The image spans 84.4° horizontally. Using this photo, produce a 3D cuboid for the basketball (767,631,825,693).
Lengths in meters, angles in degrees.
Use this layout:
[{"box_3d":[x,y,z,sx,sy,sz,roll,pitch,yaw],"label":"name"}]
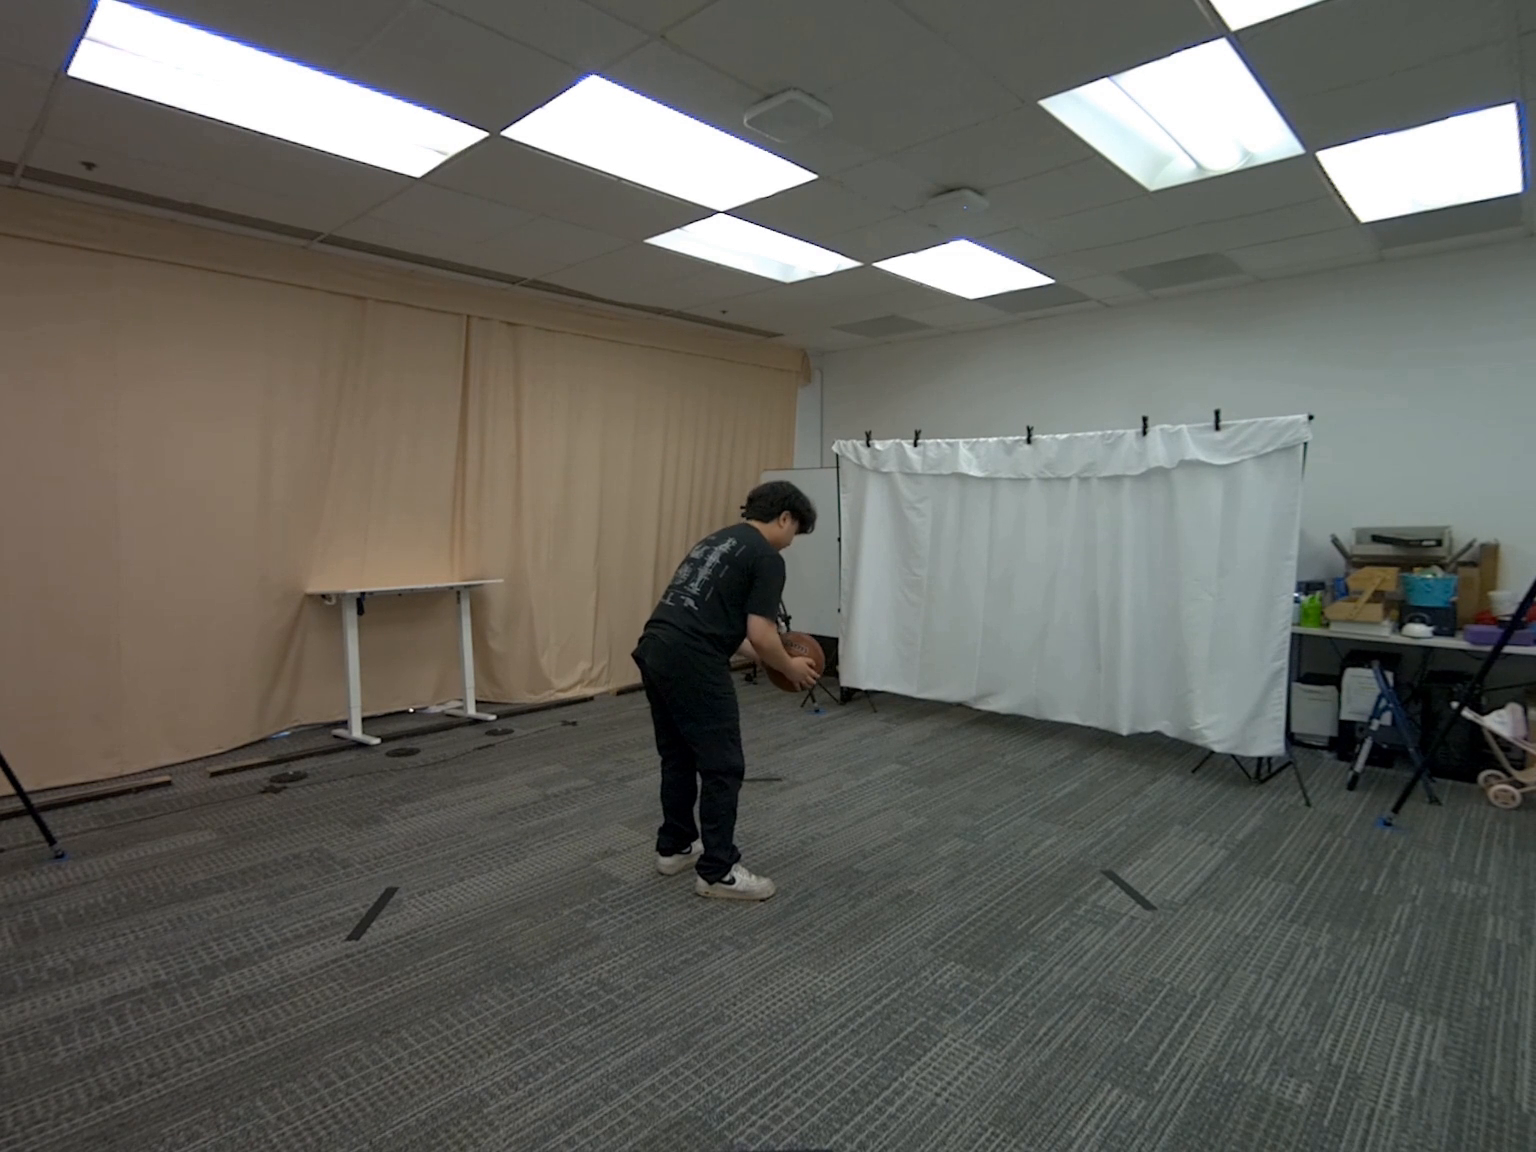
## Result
[{"box_3d":[0.108,0.339,3.308,0.236,0.235,0.237,0,4,-2],"label":"basketball"}]
